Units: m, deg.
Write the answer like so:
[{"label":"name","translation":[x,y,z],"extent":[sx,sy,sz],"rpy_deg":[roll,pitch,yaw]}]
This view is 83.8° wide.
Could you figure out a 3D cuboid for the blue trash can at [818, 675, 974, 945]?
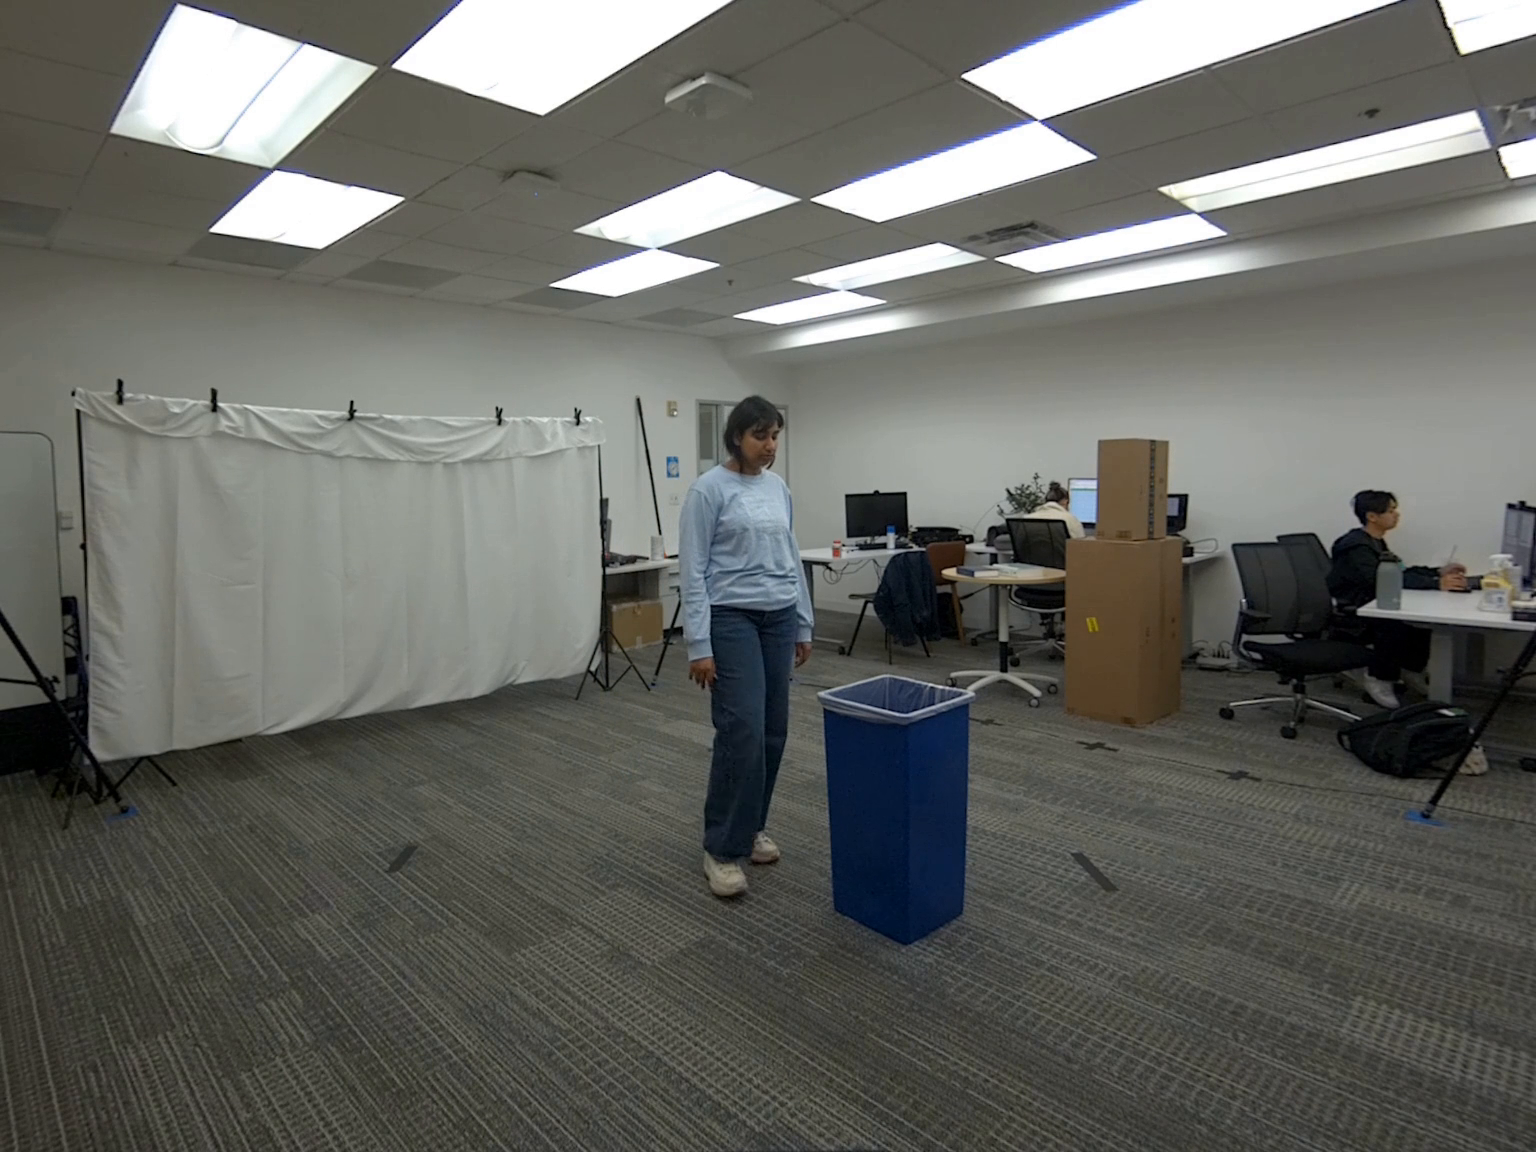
[{"label":"blue trash can","translation":[0.412,0.726,2.715],"extent":[0.364,0.711,0.389],"rpy_deg":[-5,5,-42]}]
